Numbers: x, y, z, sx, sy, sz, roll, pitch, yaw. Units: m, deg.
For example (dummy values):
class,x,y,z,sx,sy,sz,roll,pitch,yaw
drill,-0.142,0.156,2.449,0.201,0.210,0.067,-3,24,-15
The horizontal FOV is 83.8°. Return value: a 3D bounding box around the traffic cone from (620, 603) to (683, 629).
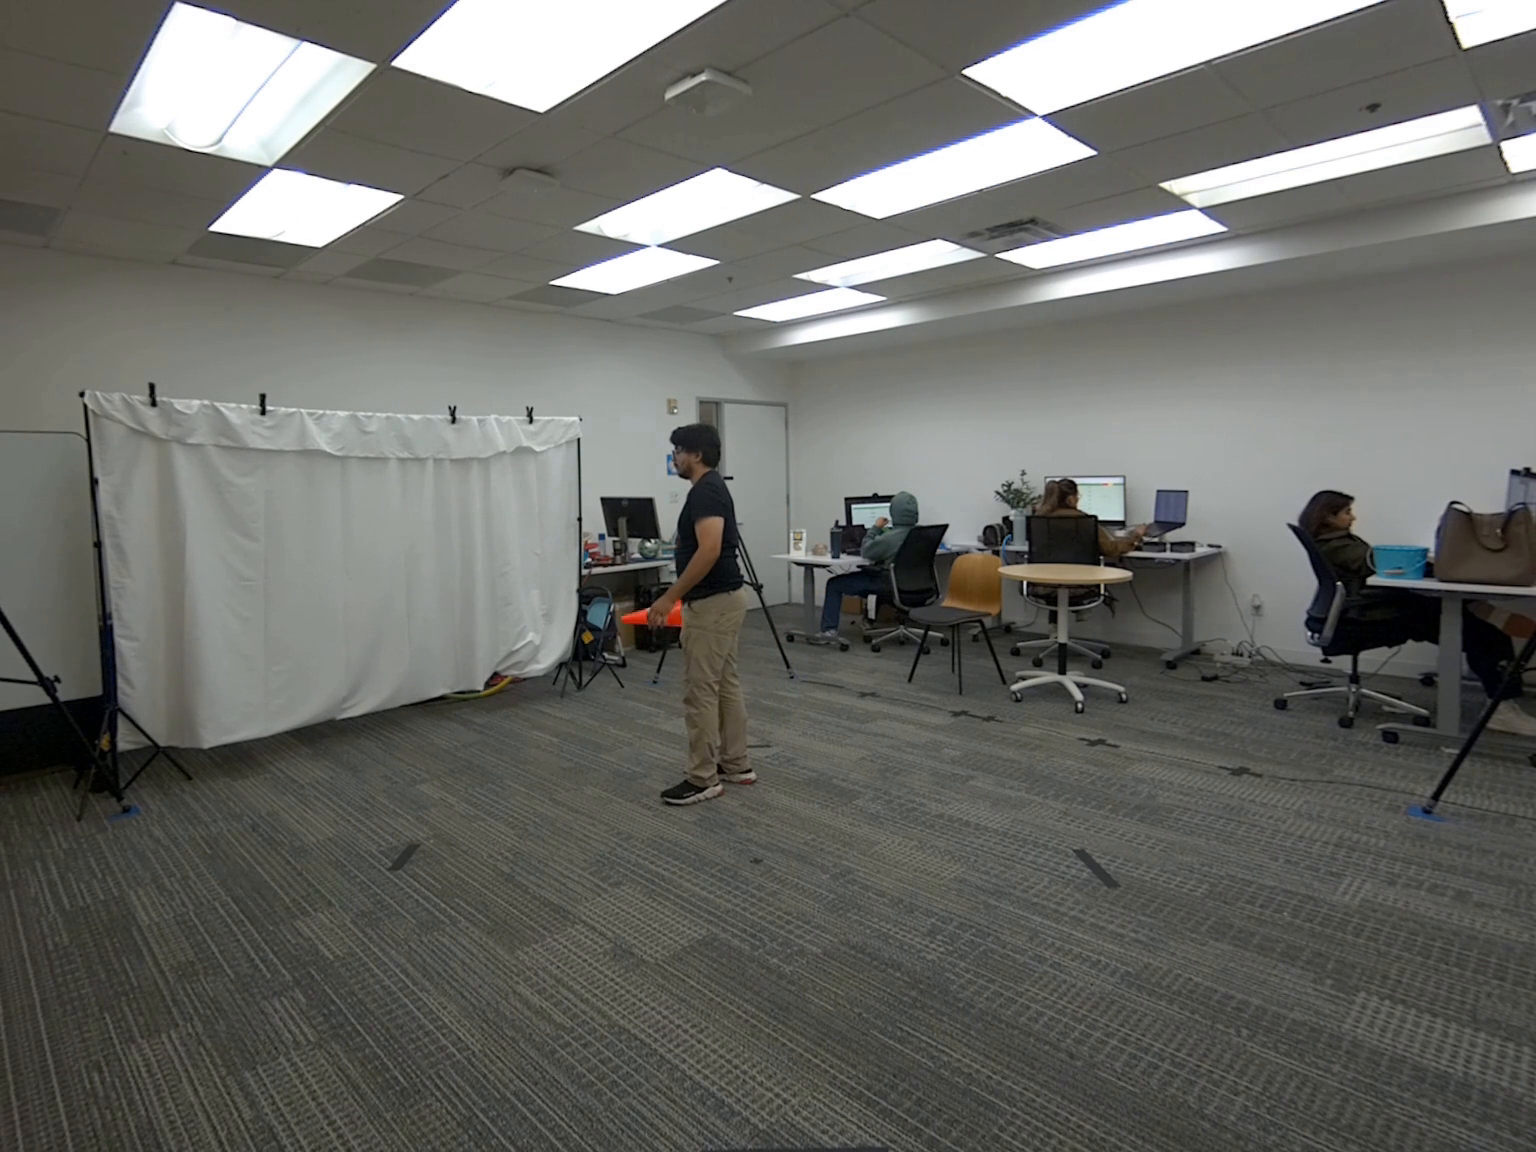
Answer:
class,x,y,z,sx,sy,sz,roll,pitch,yaw
traffic cone,-0.519,0.198,4.162,0.382,0.200,0.209,-9,27,-6
